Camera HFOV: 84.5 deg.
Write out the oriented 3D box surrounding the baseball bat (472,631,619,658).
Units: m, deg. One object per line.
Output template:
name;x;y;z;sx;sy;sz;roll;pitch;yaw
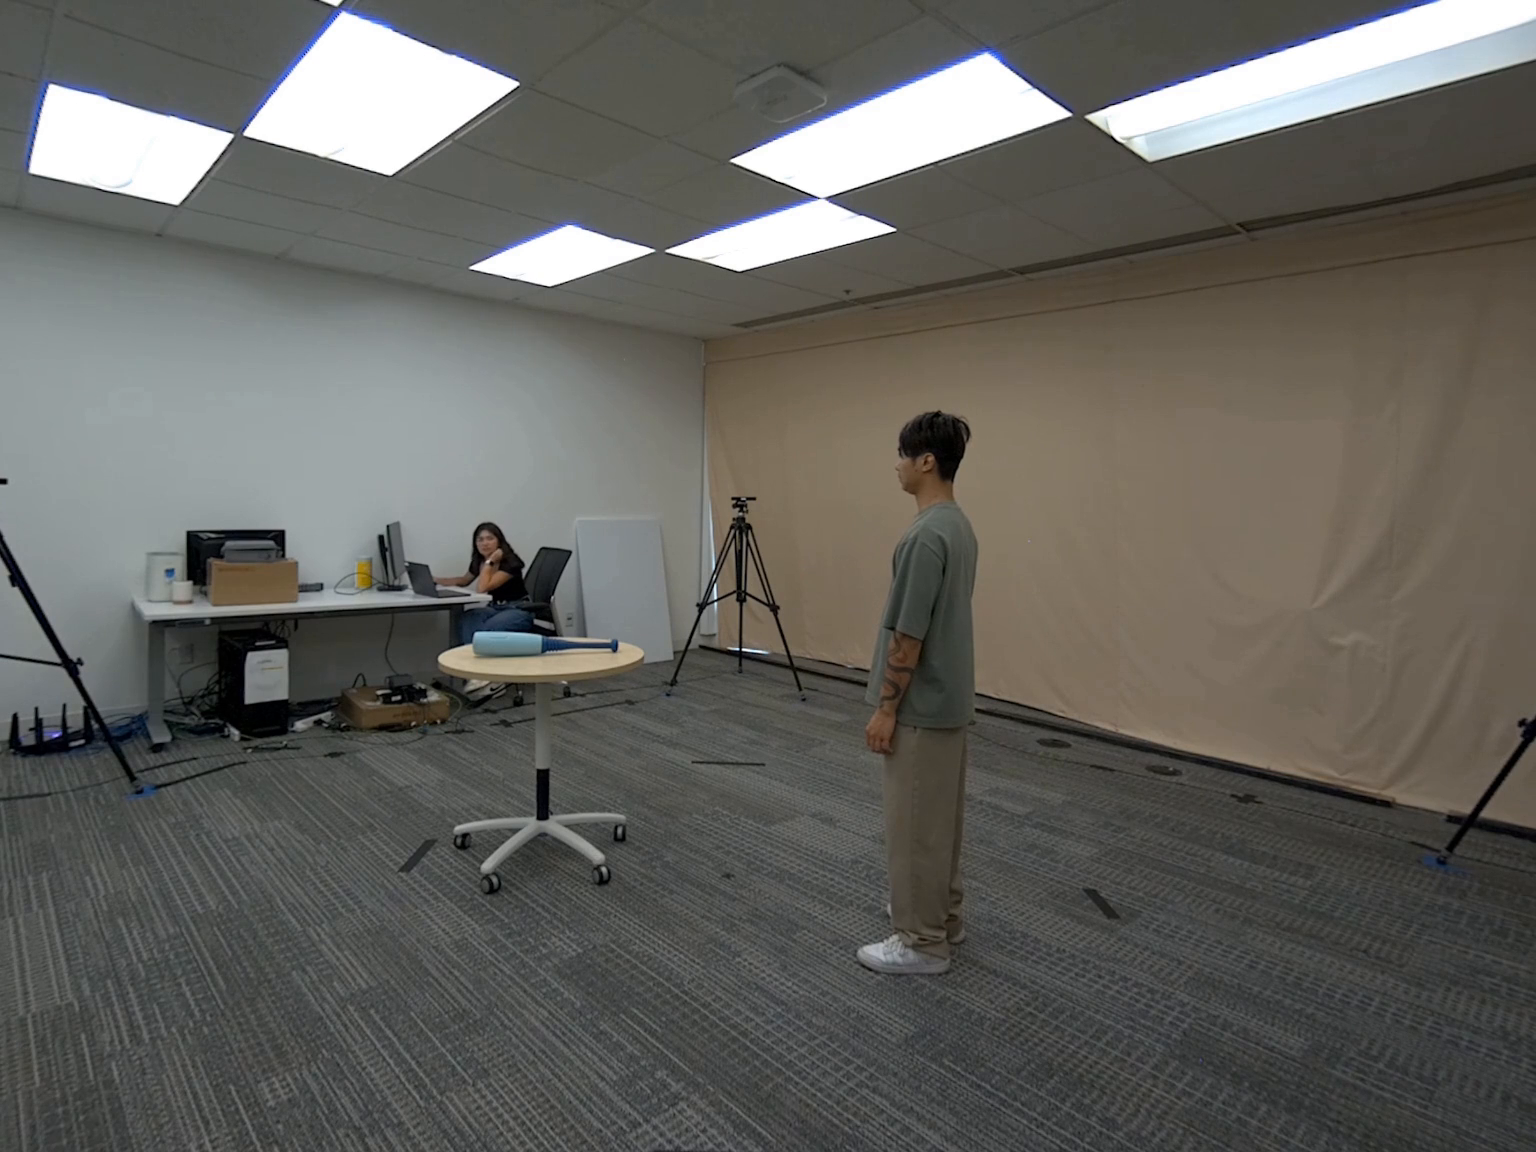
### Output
baseball bat;-0.853;0.264;3.205;0.536;0.089;0.090;2;4;-15
